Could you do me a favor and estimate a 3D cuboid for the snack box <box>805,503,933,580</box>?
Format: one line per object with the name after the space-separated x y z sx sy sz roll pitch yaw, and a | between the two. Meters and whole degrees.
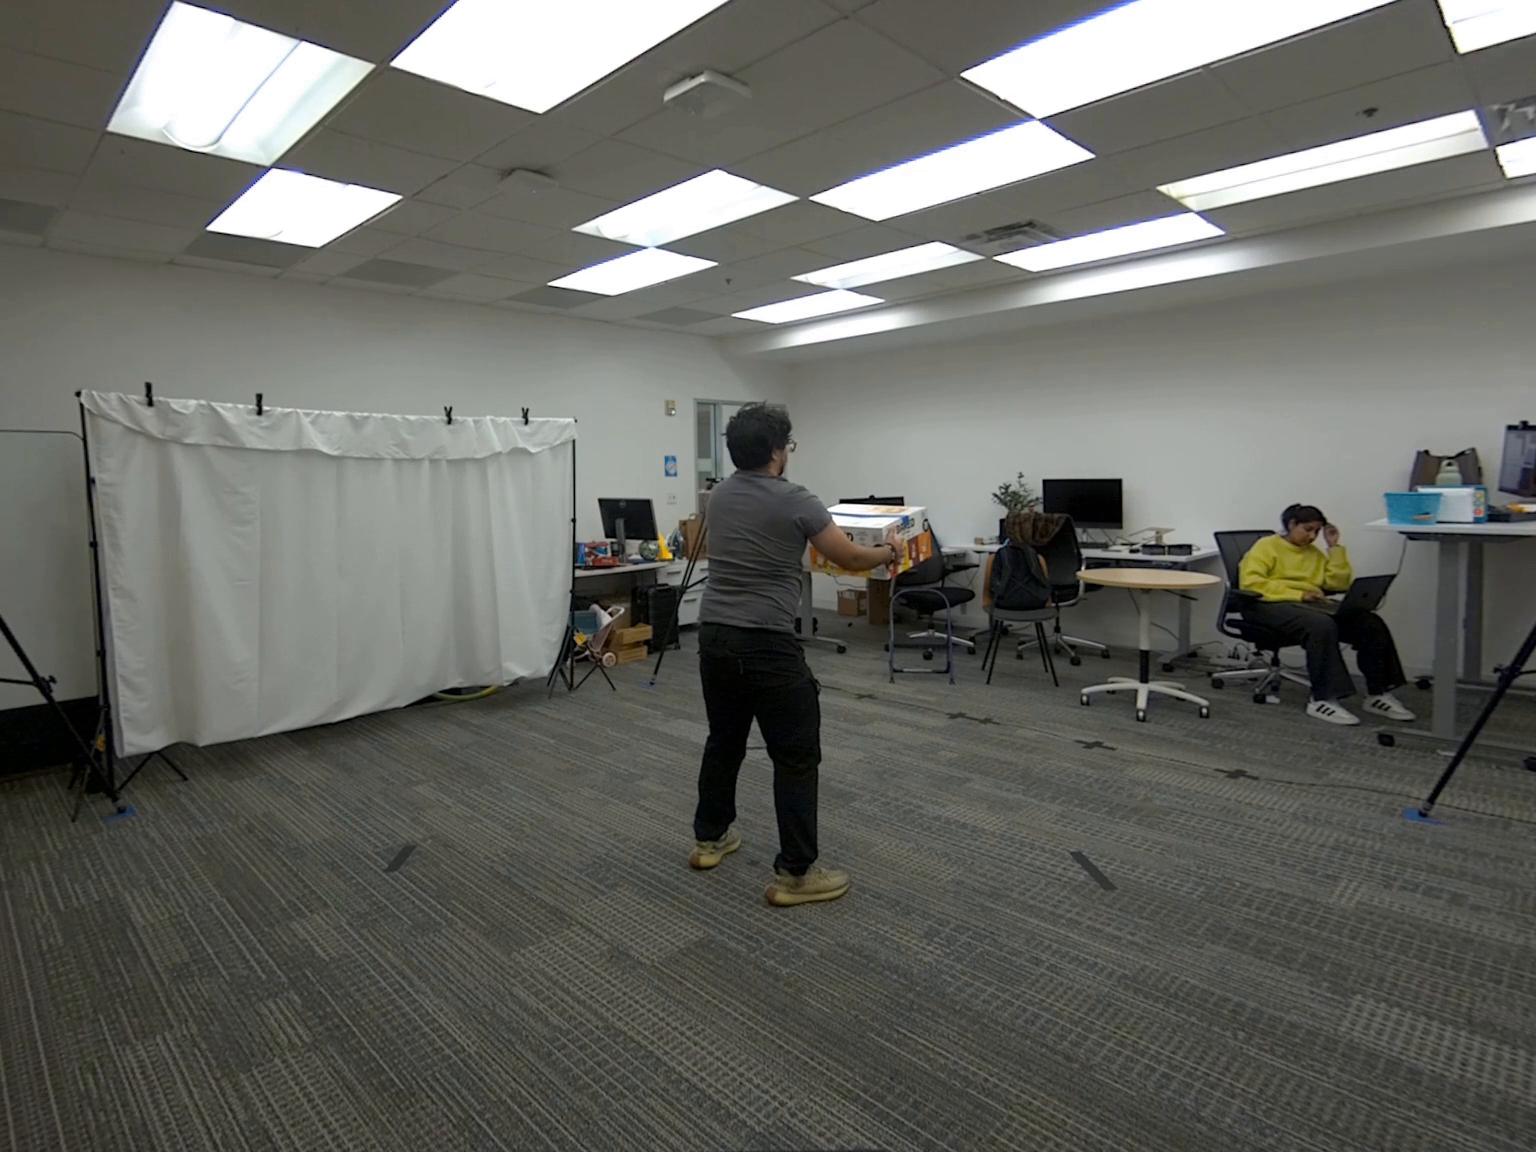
0.379 -0.141 3.390 0.418 0.203 0.334 5 18 40 | snack box
